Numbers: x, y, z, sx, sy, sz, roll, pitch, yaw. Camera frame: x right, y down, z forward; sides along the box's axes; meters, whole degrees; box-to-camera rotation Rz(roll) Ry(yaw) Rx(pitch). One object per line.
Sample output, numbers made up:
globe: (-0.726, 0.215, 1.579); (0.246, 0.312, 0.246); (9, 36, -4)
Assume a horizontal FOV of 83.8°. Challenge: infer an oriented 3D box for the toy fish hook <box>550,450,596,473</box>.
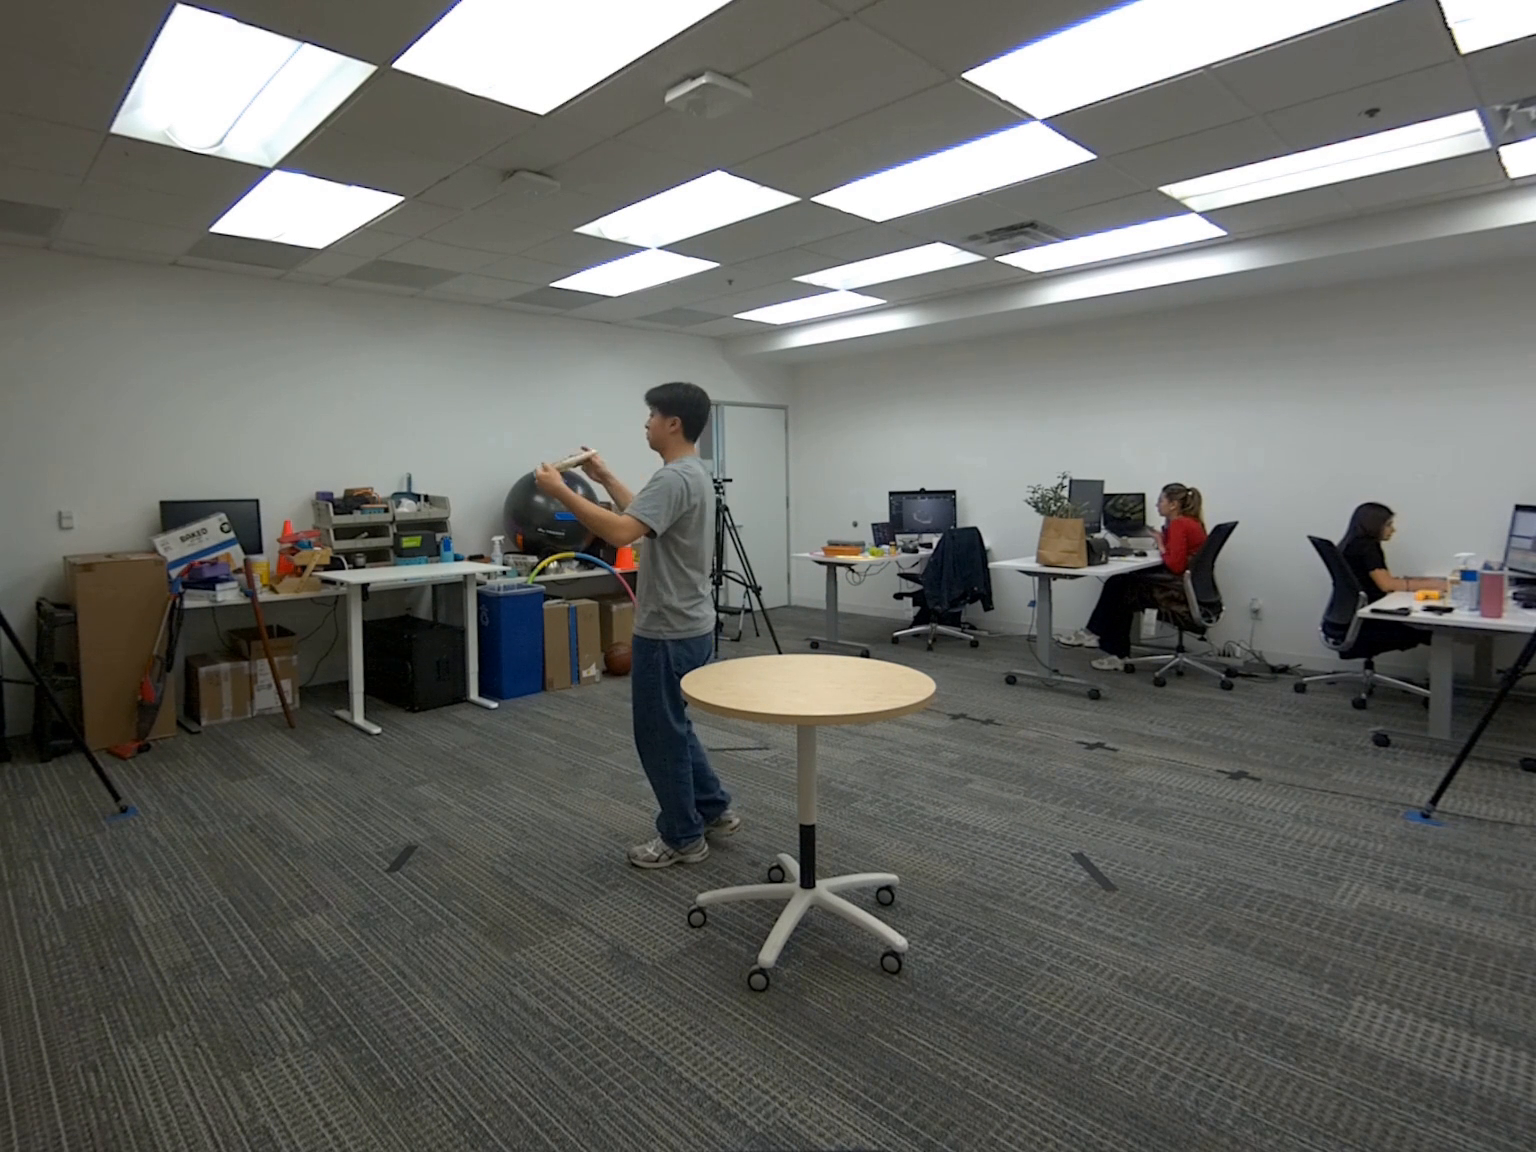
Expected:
toy fish hook: (-0.687, -0.429, 3.119); (0.226, 0.047, 0.510); (-17, 15, 12)
